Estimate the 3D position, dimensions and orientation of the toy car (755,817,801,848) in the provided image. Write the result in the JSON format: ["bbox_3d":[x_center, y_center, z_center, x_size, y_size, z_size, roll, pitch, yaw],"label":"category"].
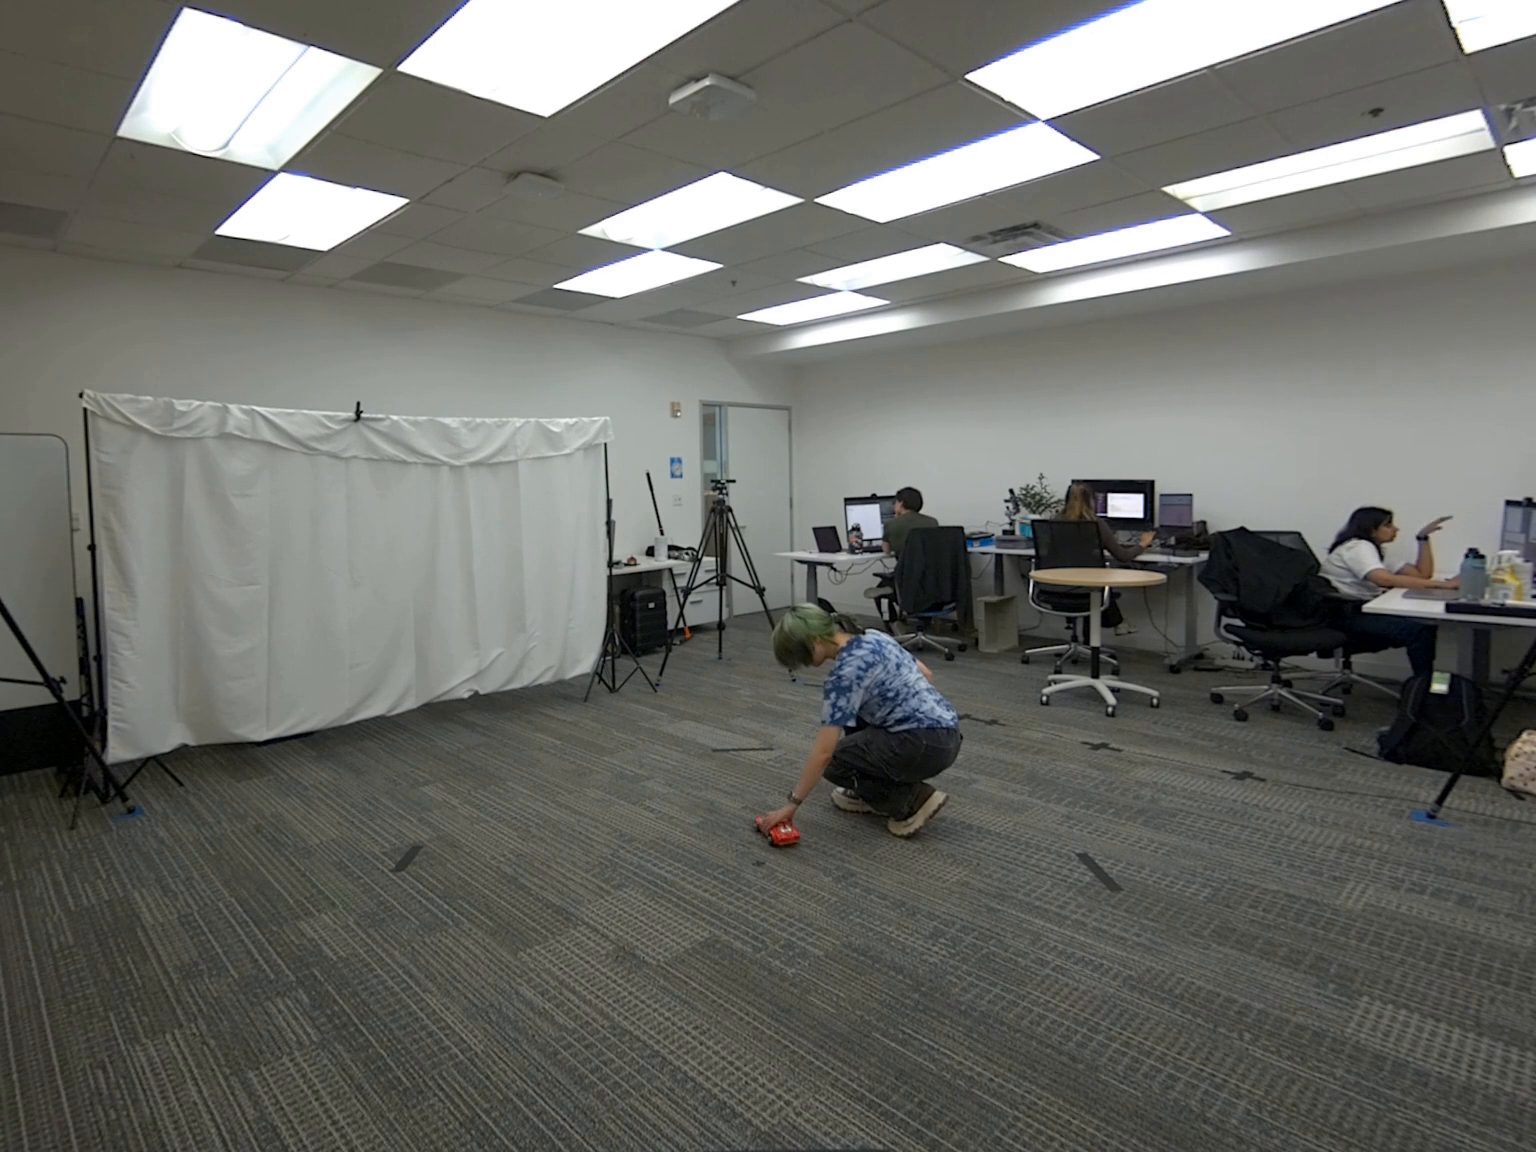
[{"bbox_3d":[0.046,0.991,3.326,0.128,0.083,0.258,-3,-4,-21],"label":"toy car"}]
